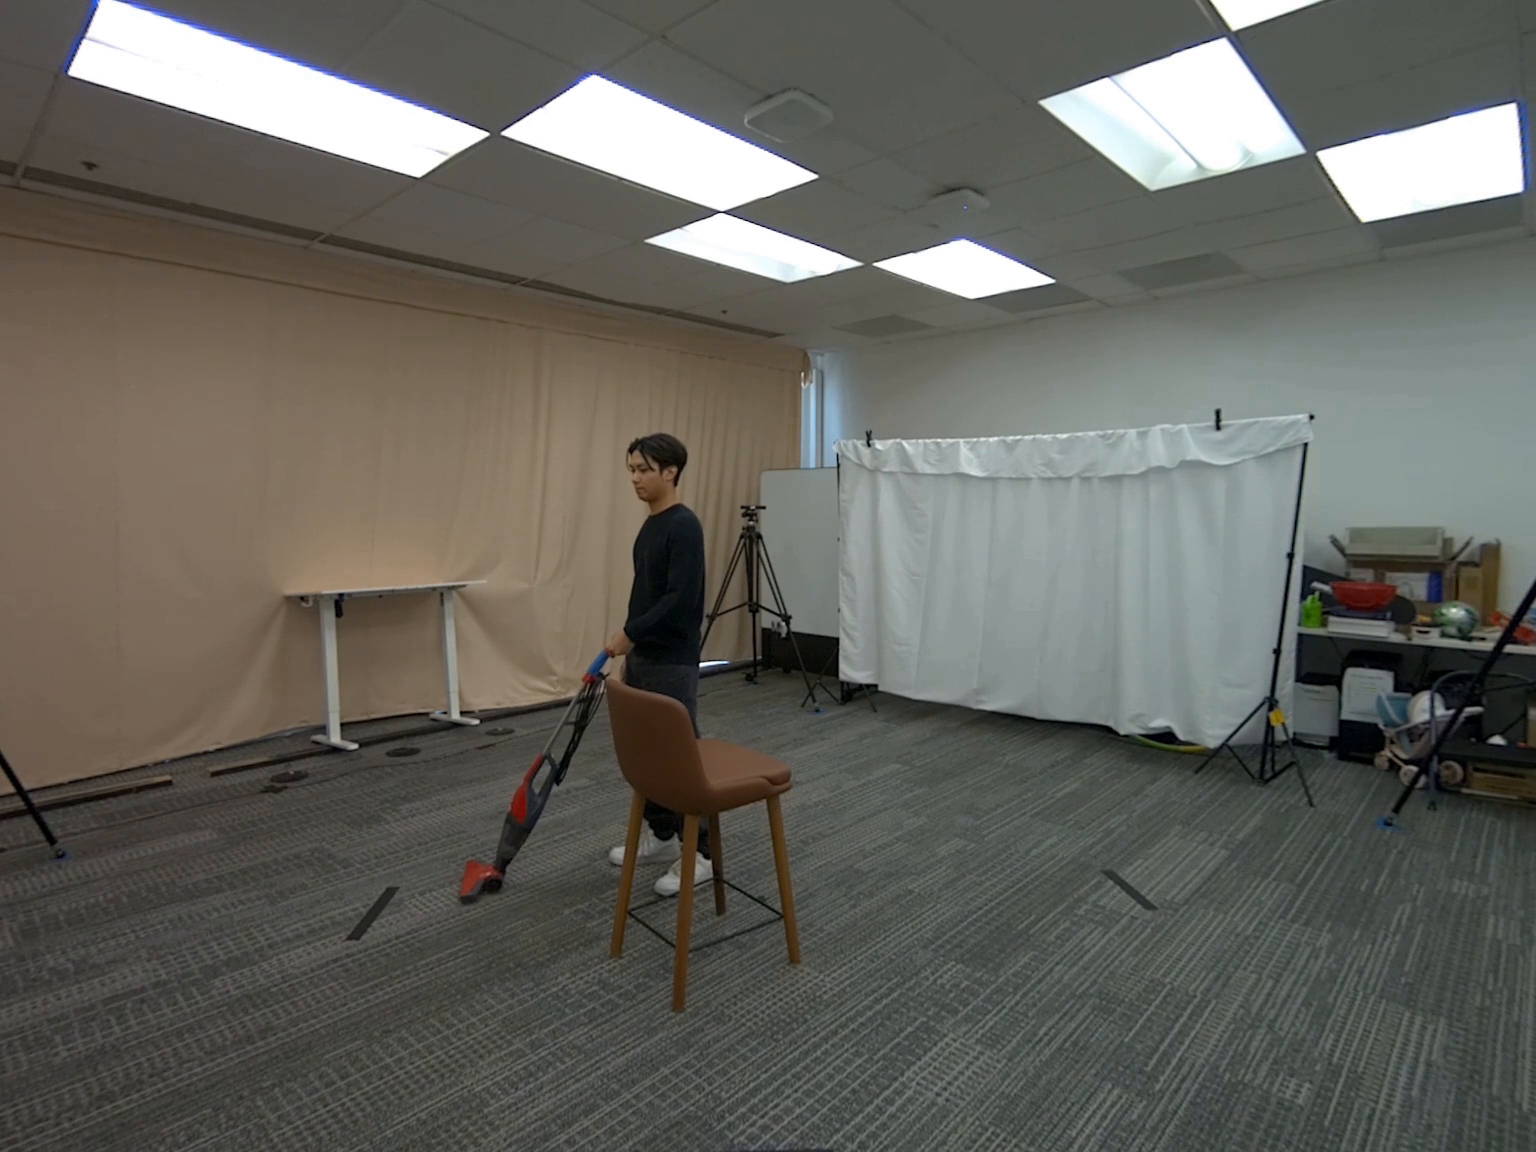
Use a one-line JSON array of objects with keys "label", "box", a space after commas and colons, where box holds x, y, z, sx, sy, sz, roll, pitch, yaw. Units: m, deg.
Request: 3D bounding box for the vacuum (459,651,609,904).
[{"label": "vacuum", "box": [-0.783, 0.682, 3.066, 0.141, 1.049, 0.258, 30, 0, -18]}]
